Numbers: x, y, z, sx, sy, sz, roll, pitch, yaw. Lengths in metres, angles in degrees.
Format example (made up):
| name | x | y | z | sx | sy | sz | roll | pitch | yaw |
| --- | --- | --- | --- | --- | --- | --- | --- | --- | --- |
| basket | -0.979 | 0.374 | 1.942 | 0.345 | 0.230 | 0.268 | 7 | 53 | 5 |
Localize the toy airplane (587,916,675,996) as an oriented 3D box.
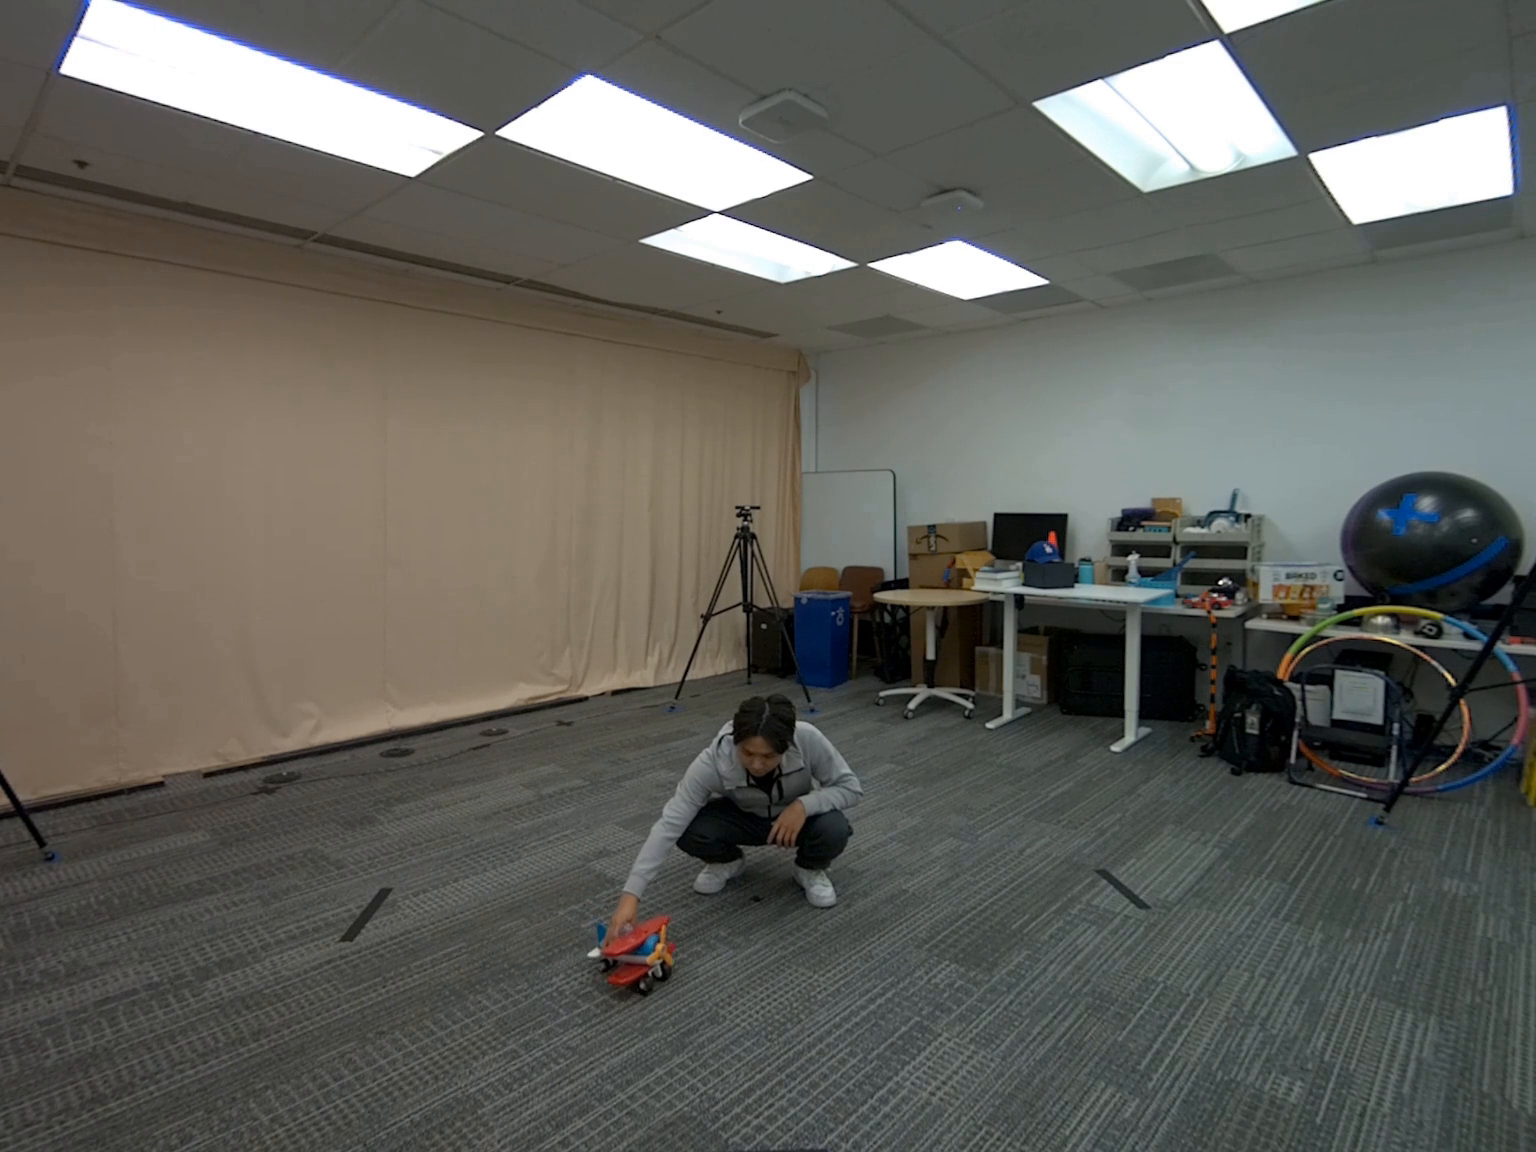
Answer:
| name | x | y | z | sx | sy | sz | roll | pitch | yaw |
| --- | --- | --- | --- | --- | --- | --- | --- | --- | --- |
| toy airplane | -0.412 | 1.112 | 2.468 | 0.261 | 0.156 | 0.250 | 1 | 5 | 6 |
